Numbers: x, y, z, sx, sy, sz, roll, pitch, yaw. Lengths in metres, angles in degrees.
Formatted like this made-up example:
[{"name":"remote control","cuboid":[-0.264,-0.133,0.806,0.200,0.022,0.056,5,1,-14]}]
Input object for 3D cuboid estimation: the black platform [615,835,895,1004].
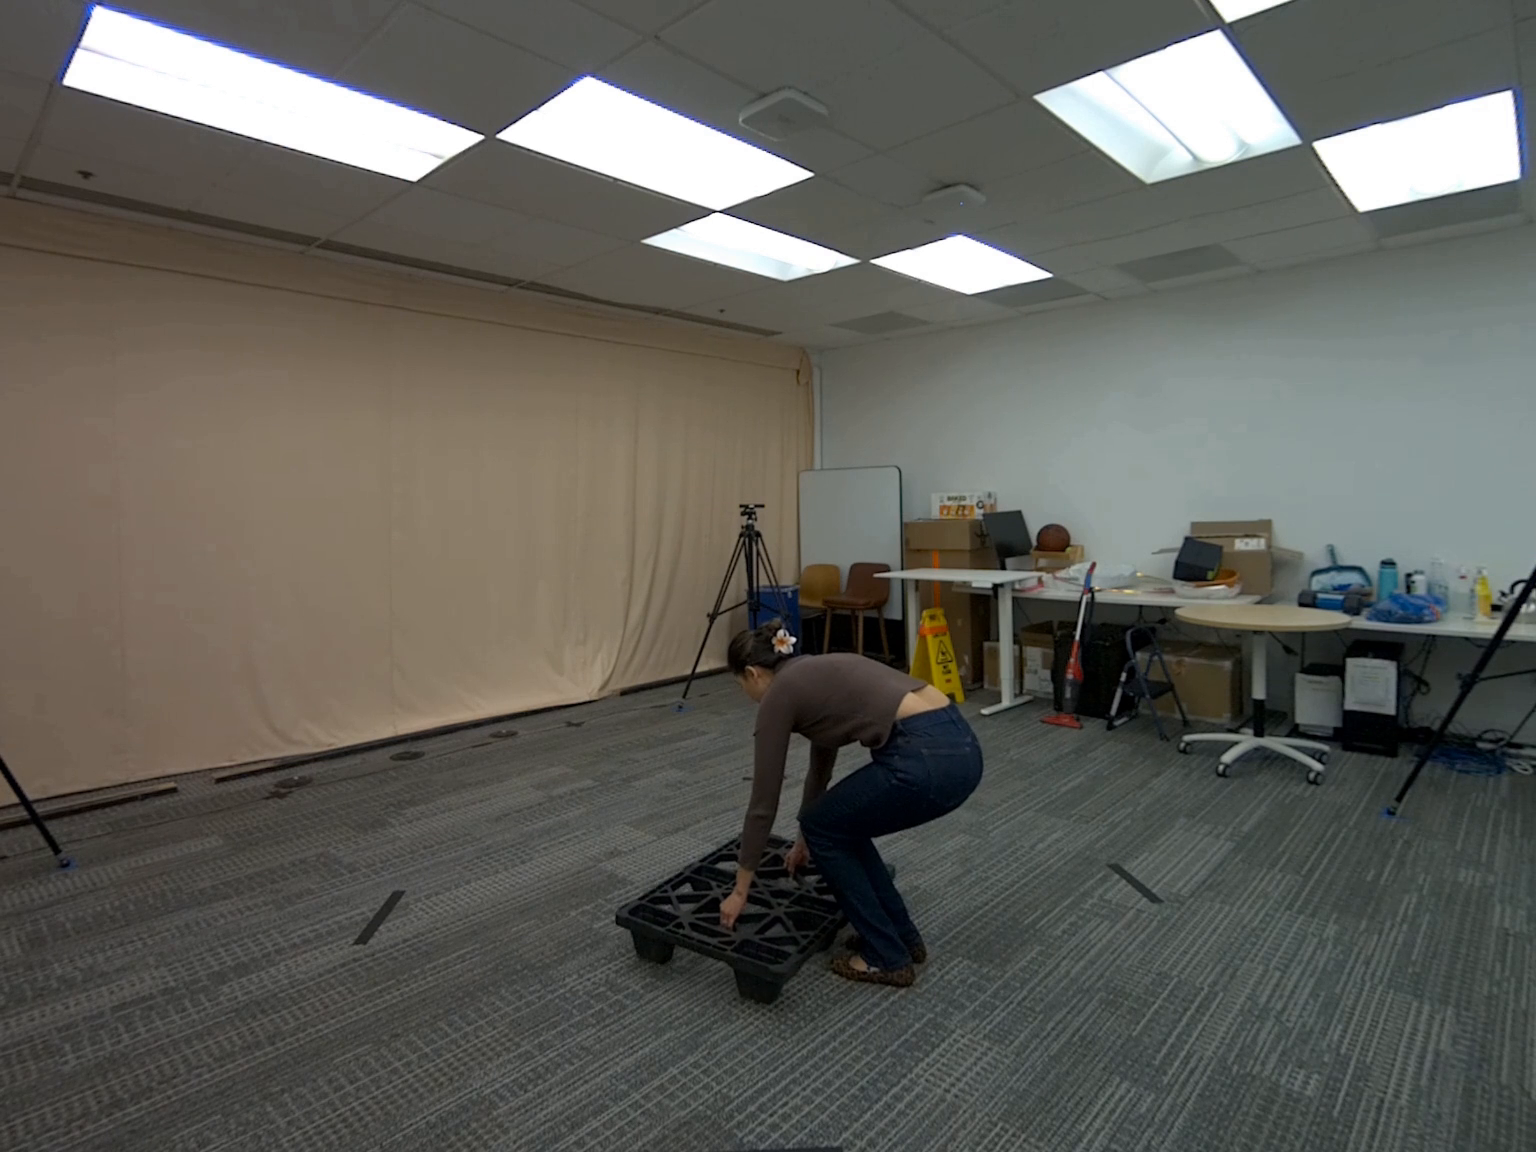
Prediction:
[{"name":"black platform","cuboid":[-0.018,1.072,2.730,0.623,0.143,0.784,3,6,32]}]
